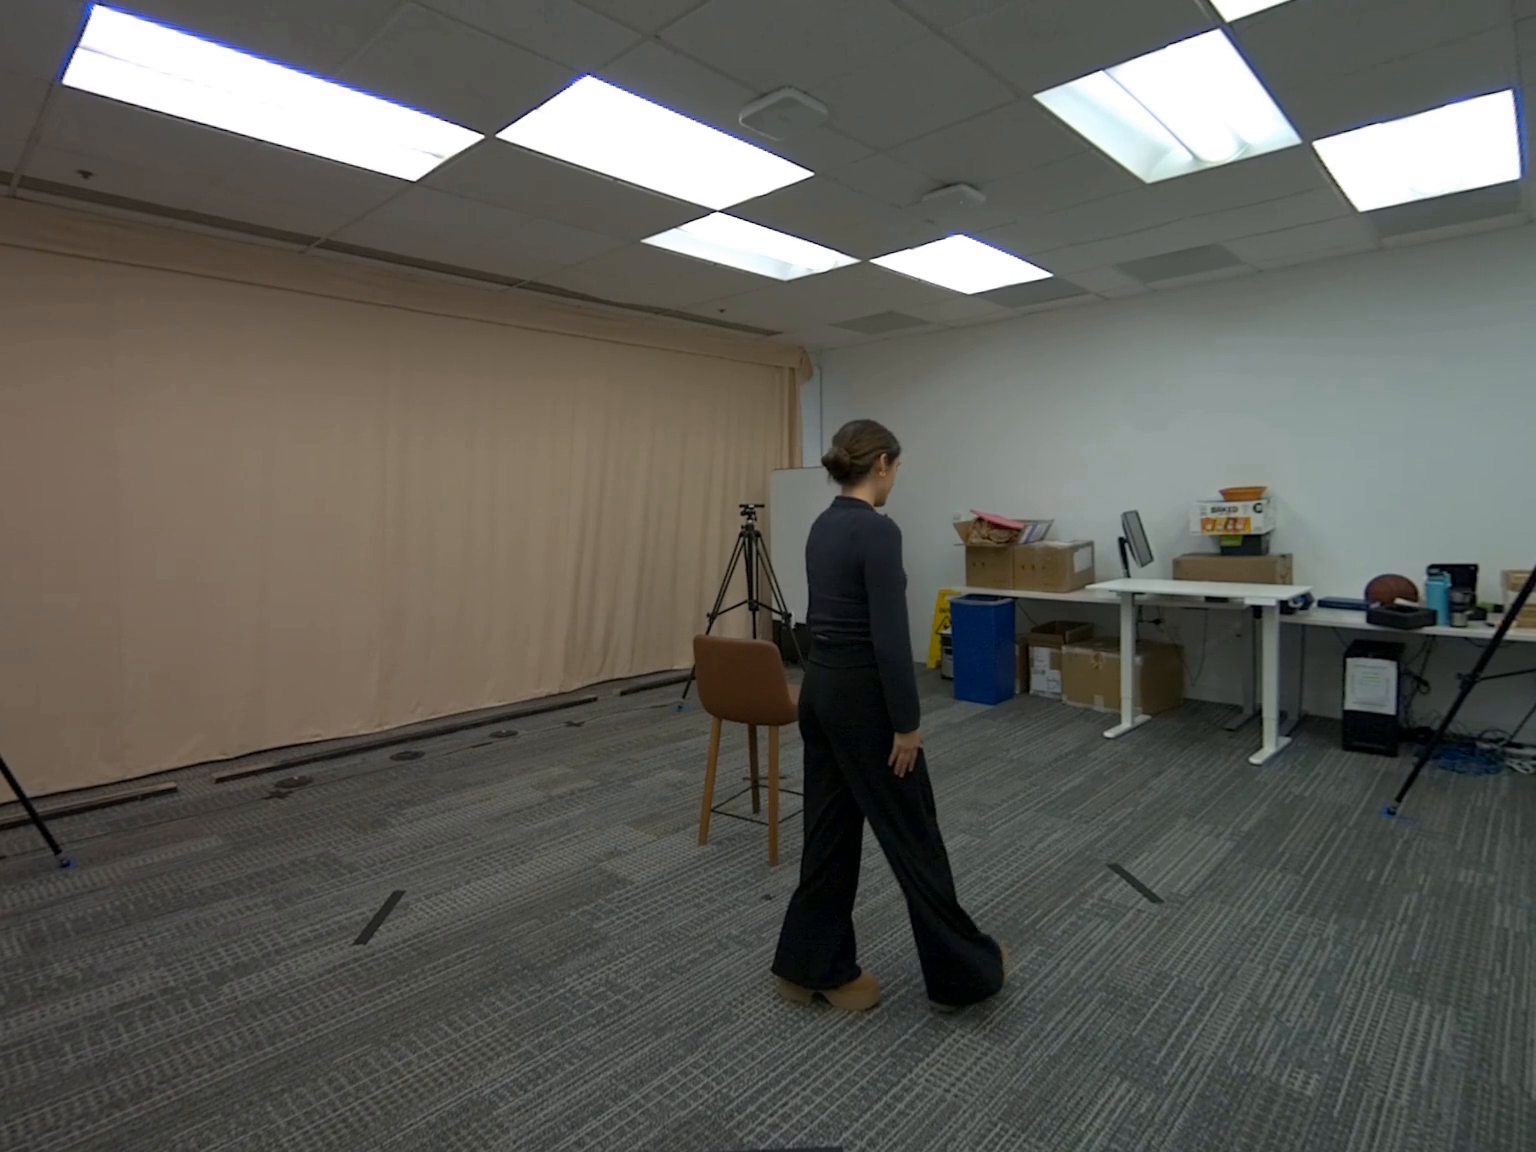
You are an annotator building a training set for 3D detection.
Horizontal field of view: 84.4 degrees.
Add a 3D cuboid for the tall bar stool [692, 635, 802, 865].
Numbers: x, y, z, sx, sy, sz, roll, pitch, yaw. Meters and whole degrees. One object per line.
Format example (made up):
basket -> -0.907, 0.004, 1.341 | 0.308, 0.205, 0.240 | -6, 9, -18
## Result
tall bar stool -> -0.019, 0.663, 3.504 | 0.471, 0.887, 0.454 | 1, 5, 35
